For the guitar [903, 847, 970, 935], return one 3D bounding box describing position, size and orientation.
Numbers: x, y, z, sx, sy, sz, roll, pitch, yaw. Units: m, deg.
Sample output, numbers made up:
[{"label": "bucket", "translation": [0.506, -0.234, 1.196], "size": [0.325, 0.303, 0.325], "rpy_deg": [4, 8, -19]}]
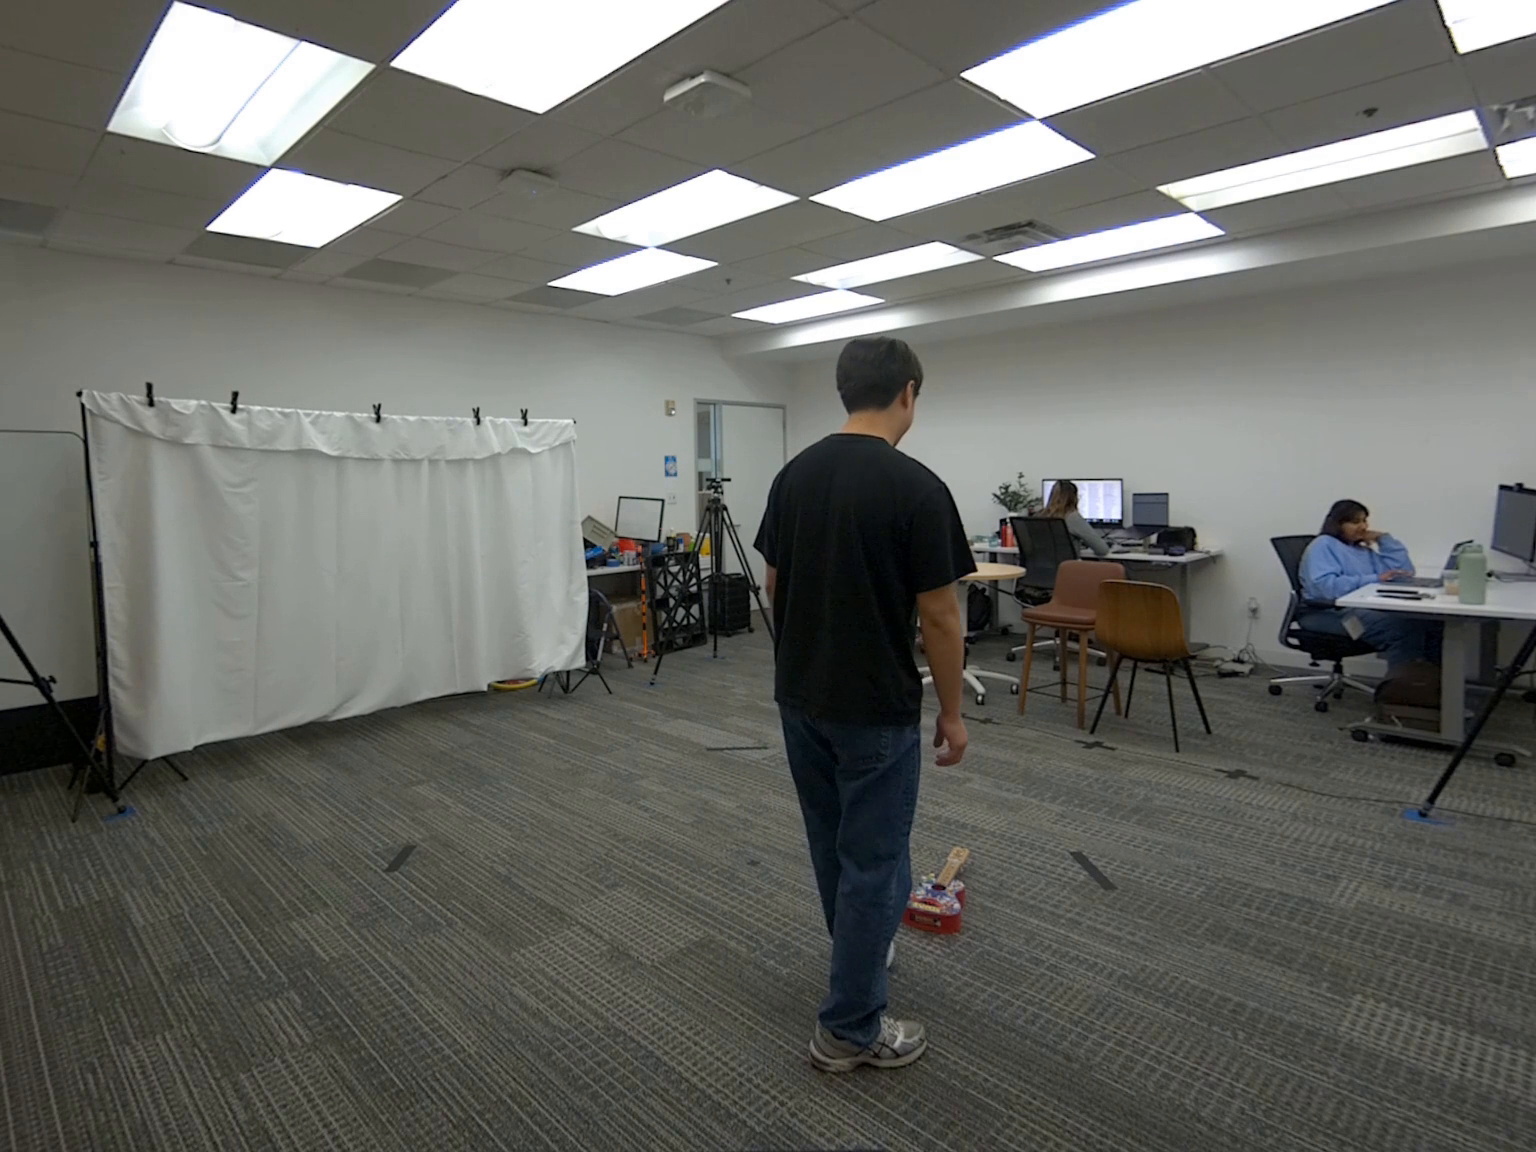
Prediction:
[{"label": "guitar", "translation": [0.616, 1.030, 2.820], "size": [0.199, 0.070, 0.486], "rpy_deg": [4, 8, 36]}]
